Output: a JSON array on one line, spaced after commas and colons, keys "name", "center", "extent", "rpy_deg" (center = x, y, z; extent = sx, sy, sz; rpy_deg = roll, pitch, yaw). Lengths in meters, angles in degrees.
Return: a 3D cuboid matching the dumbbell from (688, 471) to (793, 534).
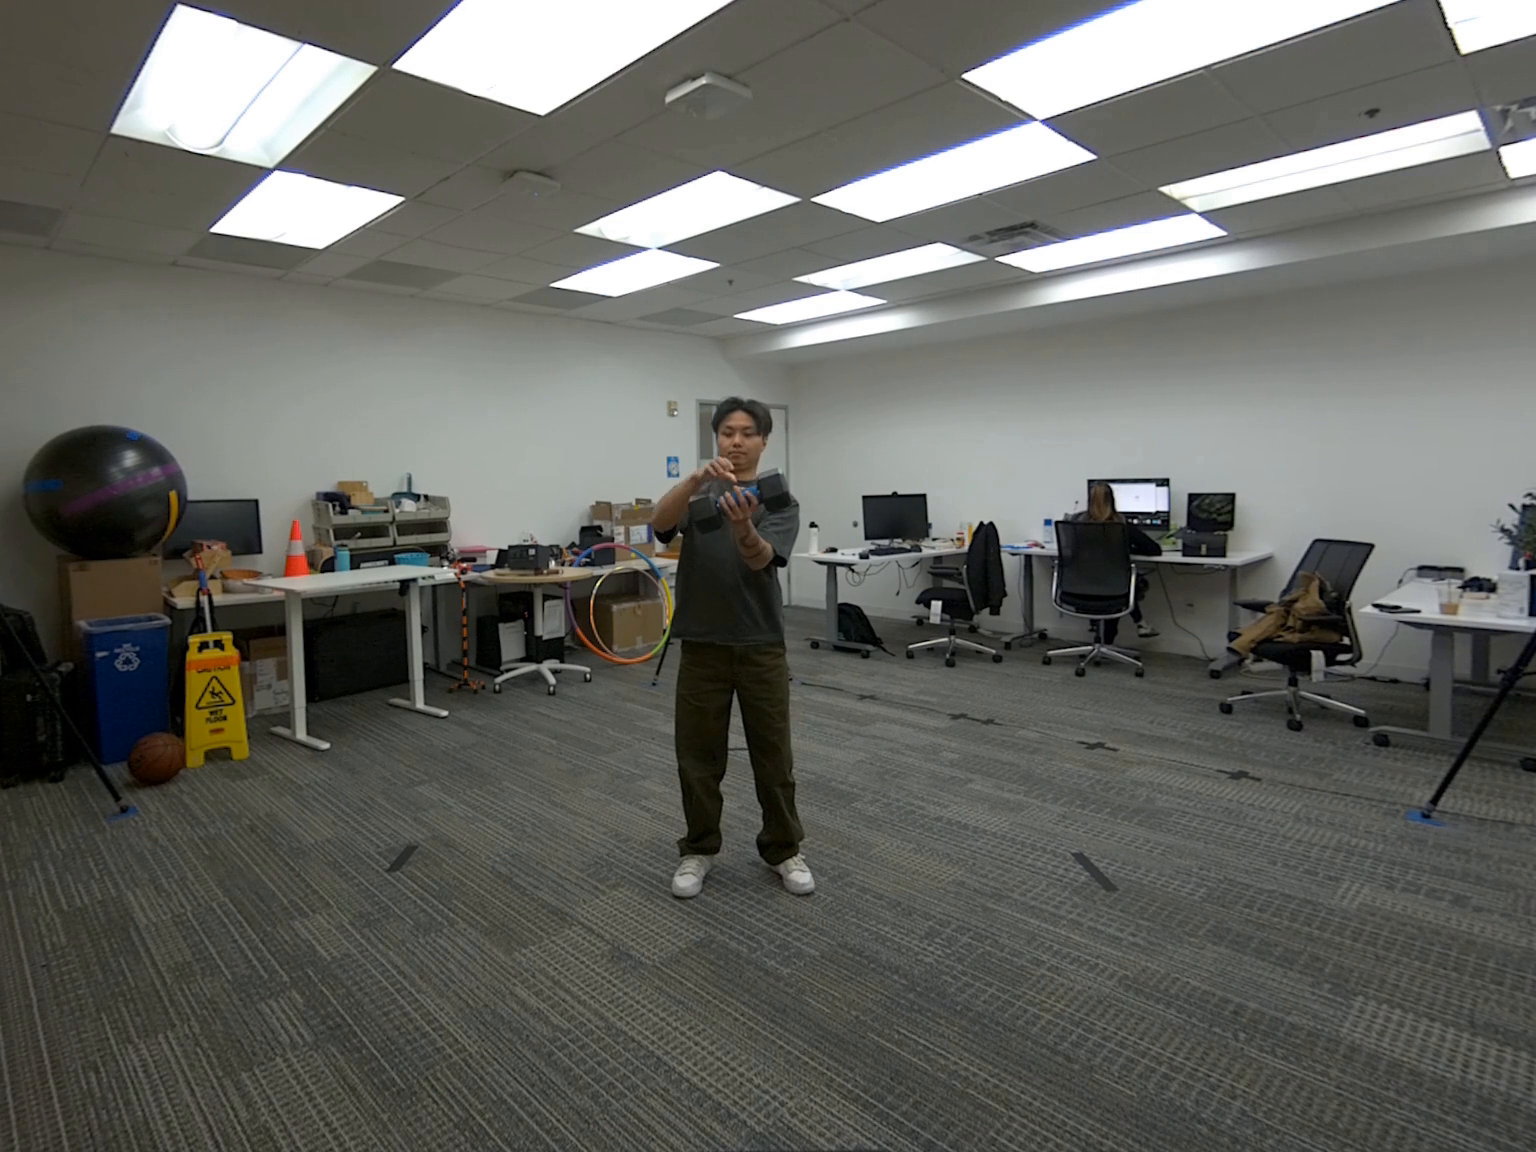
[{"name": "dumbbell", "center": [-0.080, -0.214, 2.487], "extent": [0.295, 0.125, 0.107], "rpy_deg": [-18, -11, 8]}]
